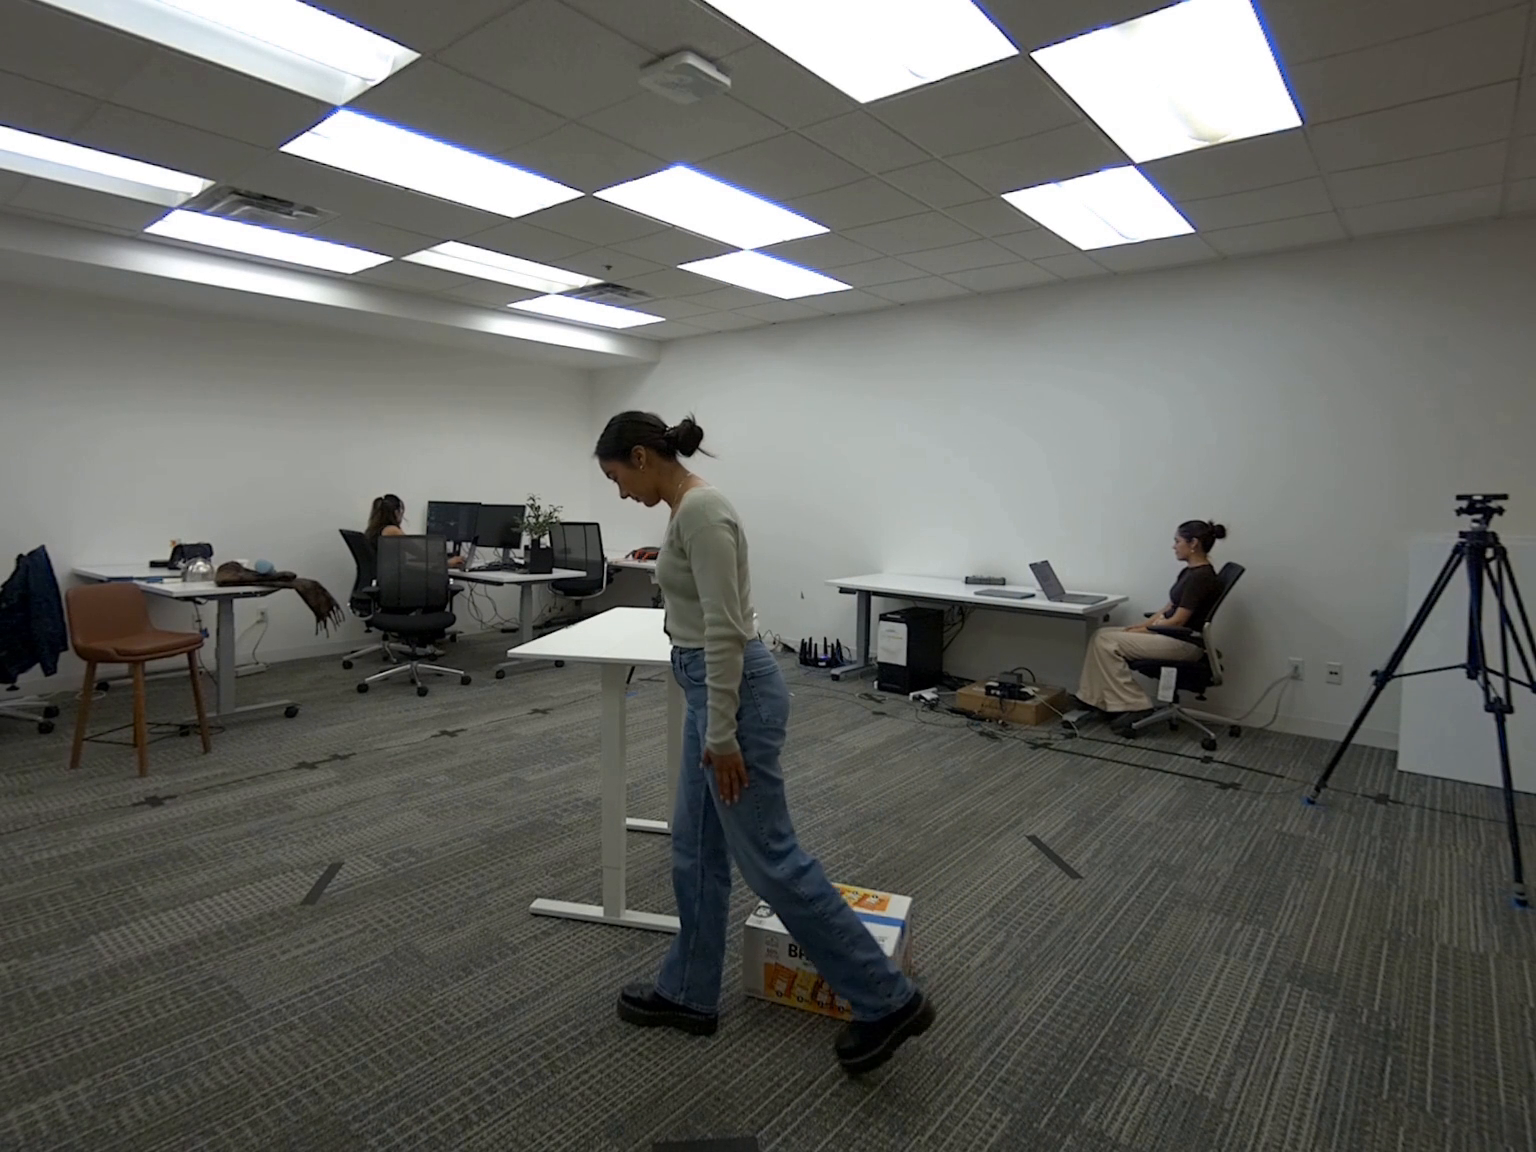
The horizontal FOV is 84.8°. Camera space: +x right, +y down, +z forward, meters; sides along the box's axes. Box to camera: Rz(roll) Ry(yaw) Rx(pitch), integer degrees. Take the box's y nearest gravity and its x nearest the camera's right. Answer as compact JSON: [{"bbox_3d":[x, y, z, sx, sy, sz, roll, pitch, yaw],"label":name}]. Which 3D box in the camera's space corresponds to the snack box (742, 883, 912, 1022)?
[{"bbox_3d":[0.171,1.041,2.401,0.414,0.205,0.334,3,5,20],"label":"snack box"}]
